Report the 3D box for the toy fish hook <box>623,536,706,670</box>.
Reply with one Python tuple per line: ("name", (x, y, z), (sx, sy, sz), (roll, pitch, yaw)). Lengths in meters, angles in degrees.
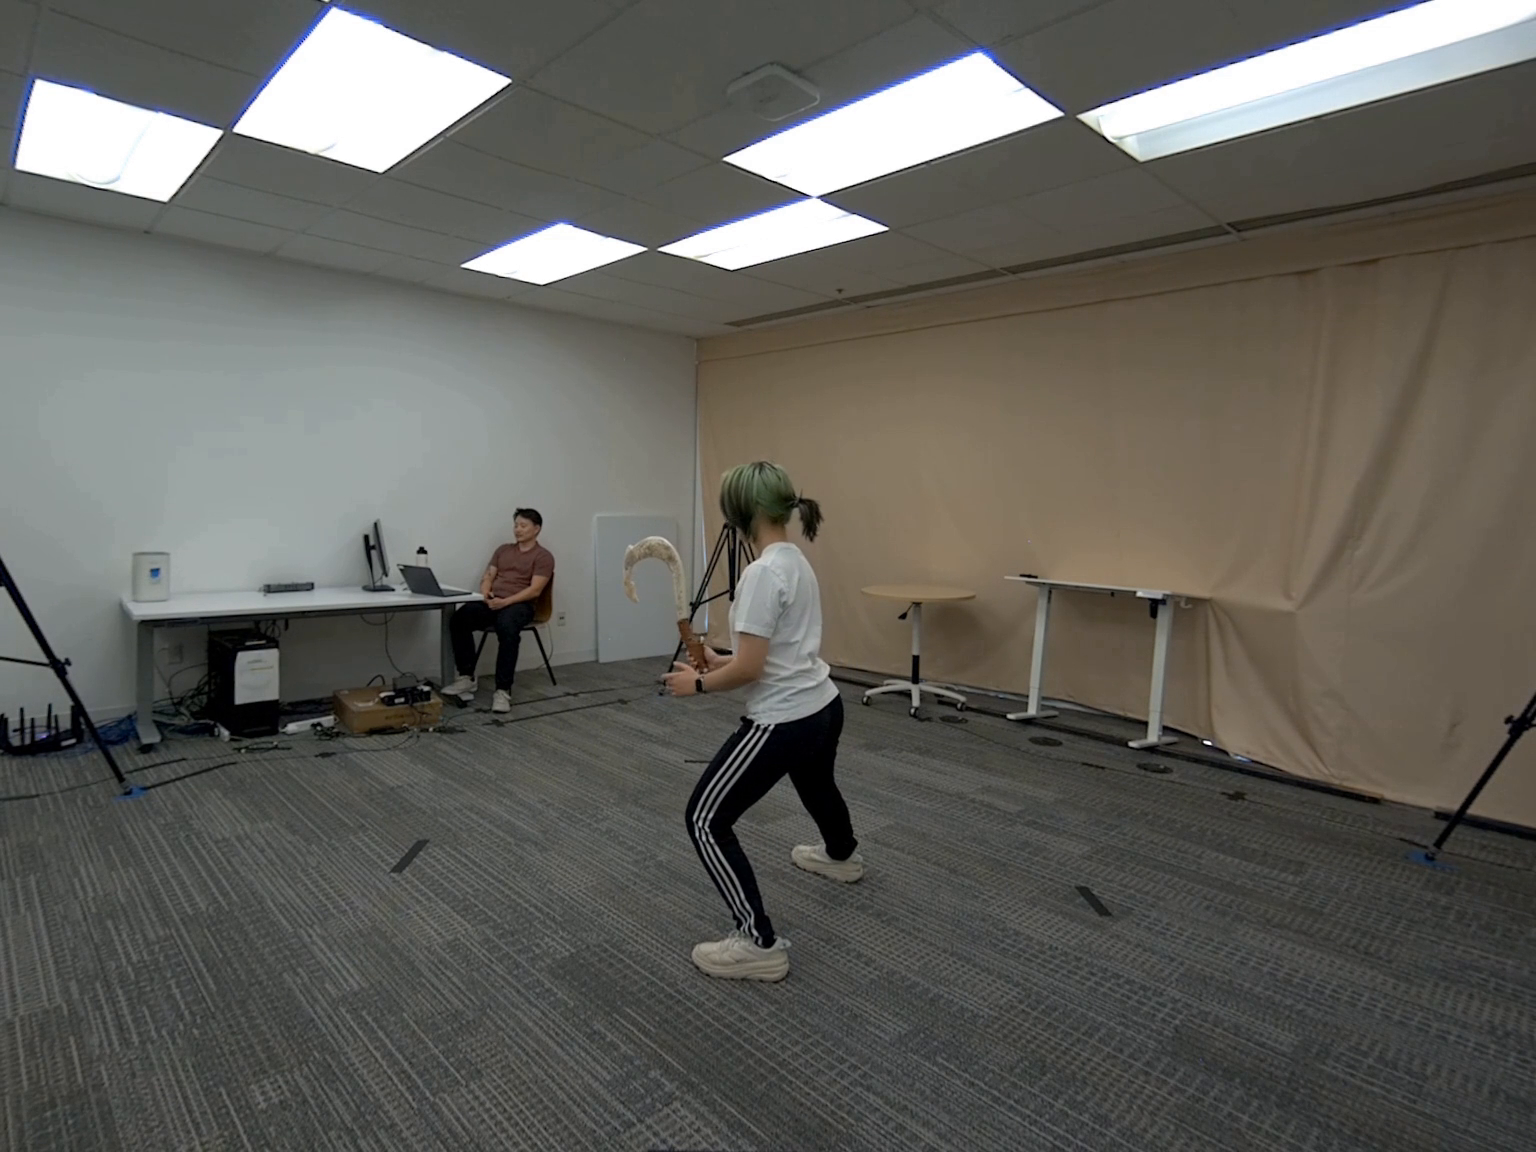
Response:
("toy fish hook", (-0.361, 0.115, 2.840), (0.226, 0.512, 0.047), (-25, -12, 16))
